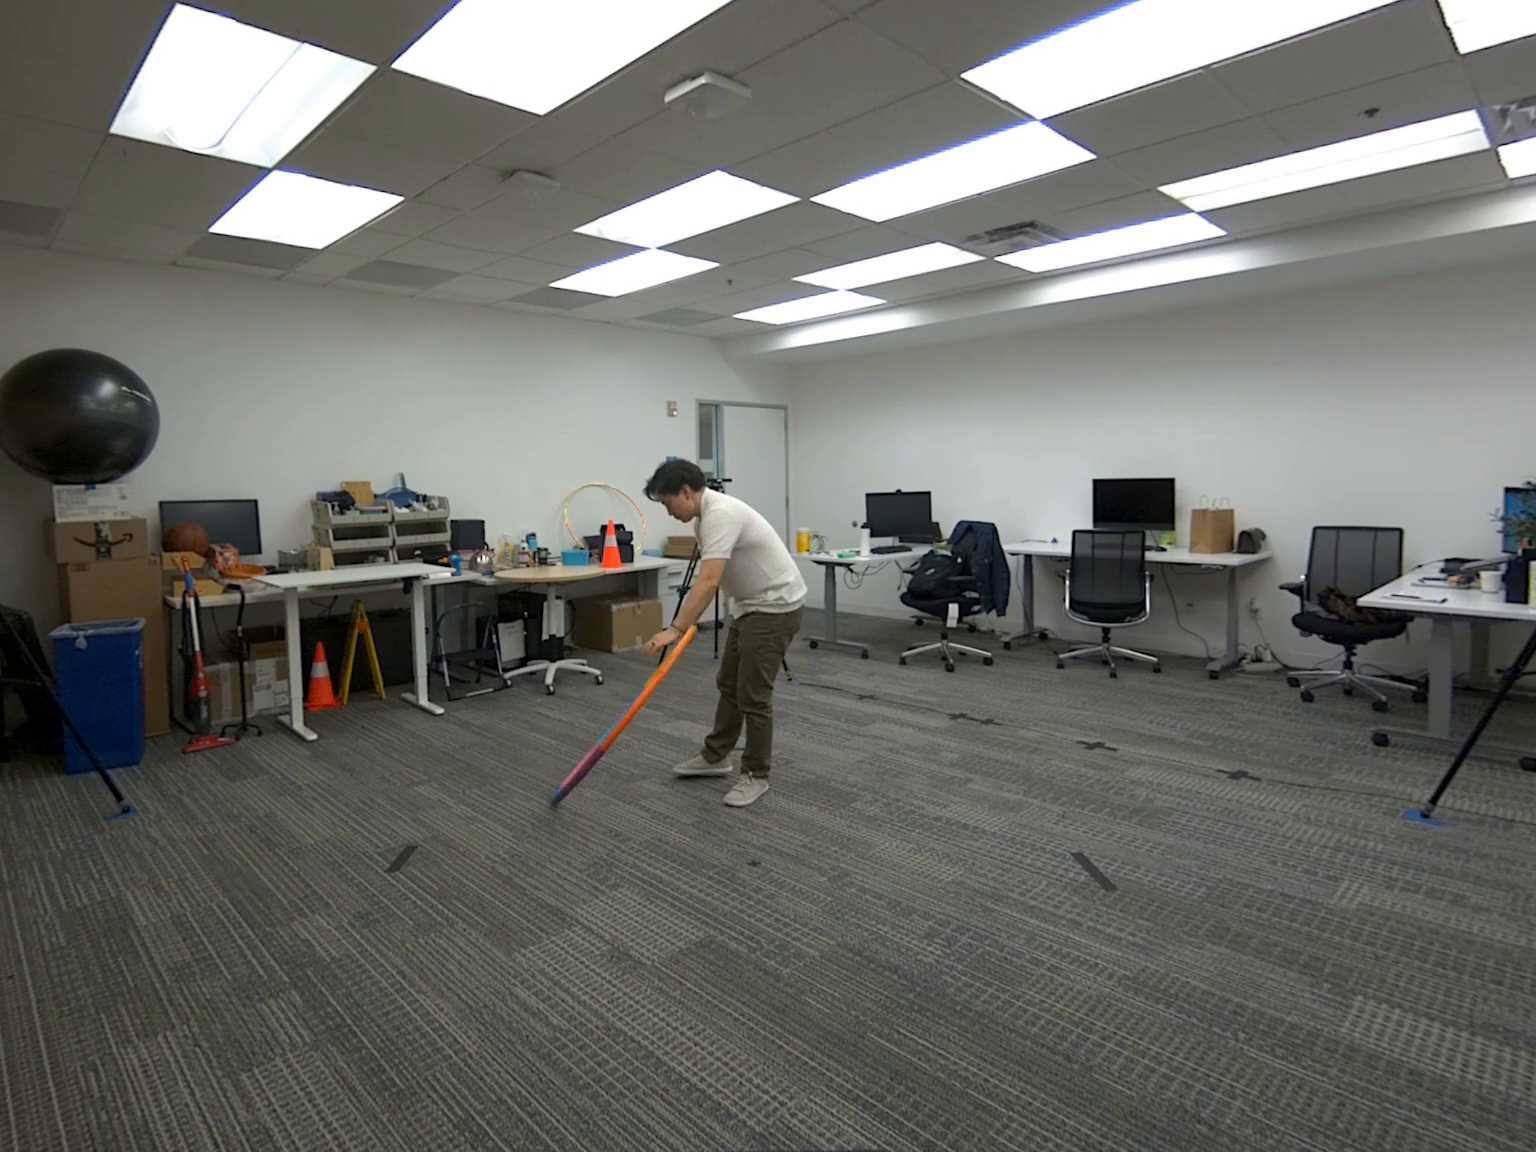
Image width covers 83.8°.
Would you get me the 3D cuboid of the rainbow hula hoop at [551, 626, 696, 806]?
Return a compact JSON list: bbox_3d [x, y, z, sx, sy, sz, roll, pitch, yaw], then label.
[{"bbox_3d":[-0.632,0.590,3.775,0.035,0.978,0.980,41,5,-4],"label":"rainbow hula hoop"}]
